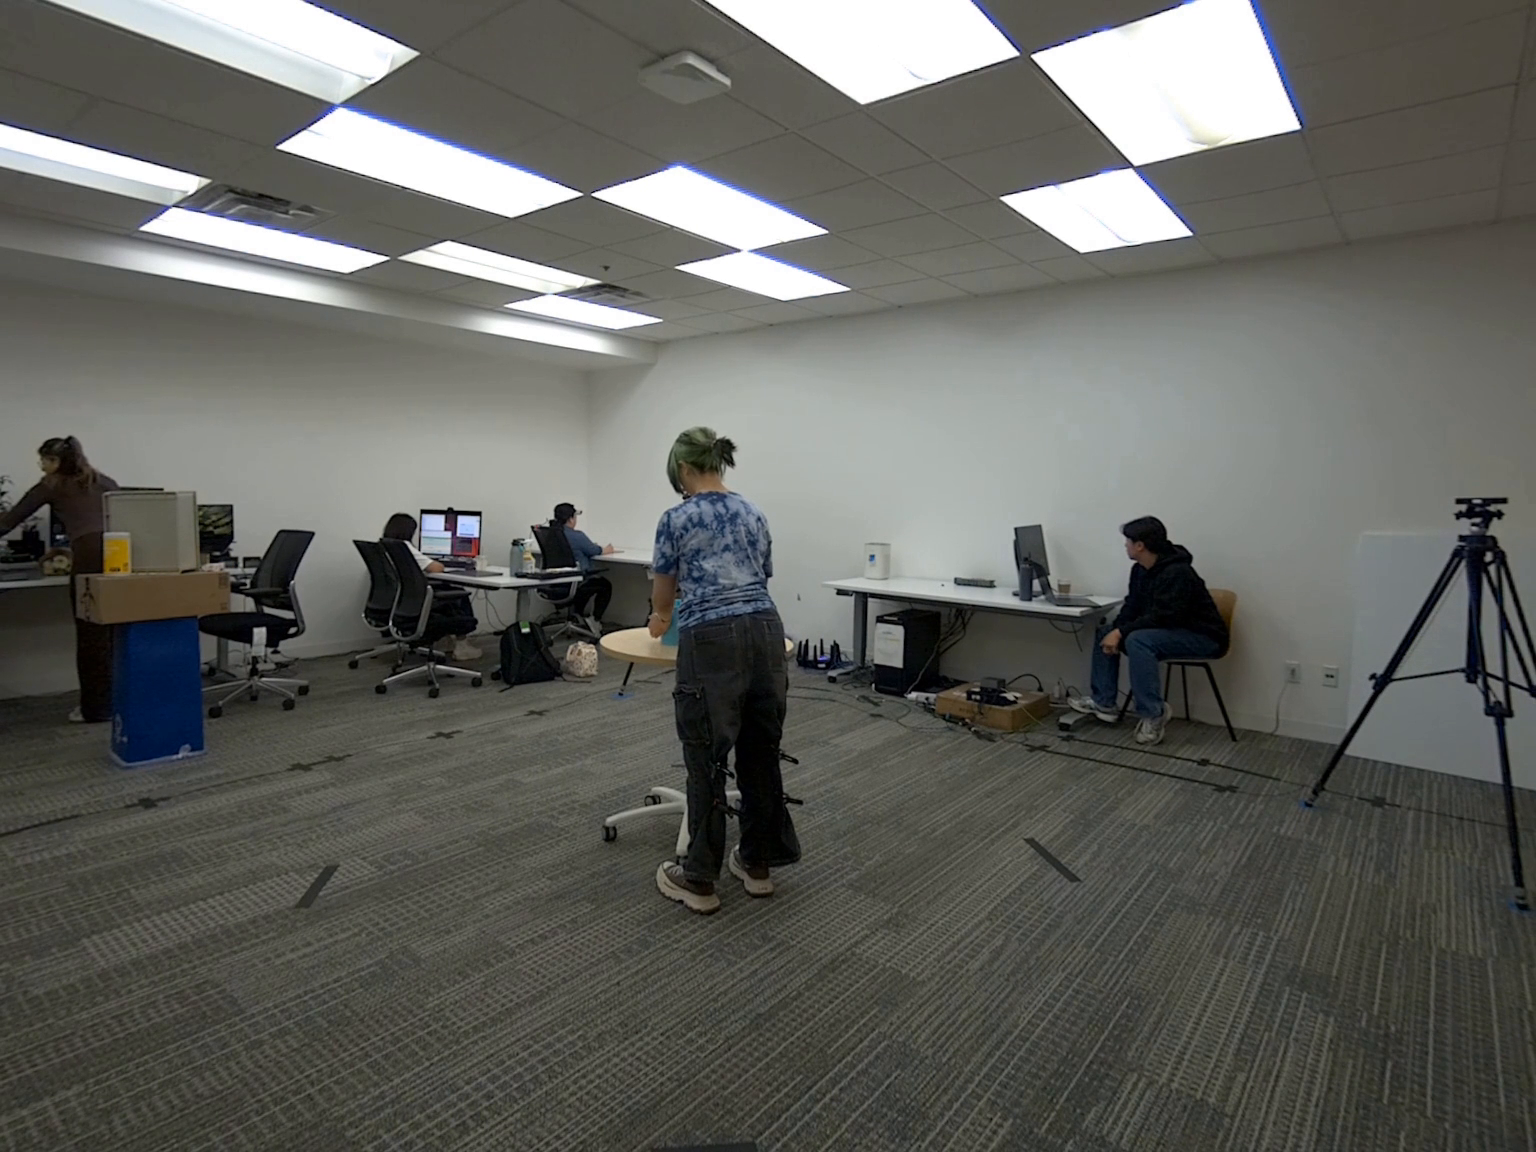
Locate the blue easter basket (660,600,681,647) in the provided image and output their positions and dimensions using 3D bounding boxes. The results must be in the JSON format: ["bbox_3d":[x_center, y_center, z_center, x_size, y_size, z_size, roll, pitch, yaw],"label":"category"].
[{"bbox_3d":[-0.355,0.190,3.350,0.243,0.155,0.245,2,6,-2],"label":"blue easter basket"}]
